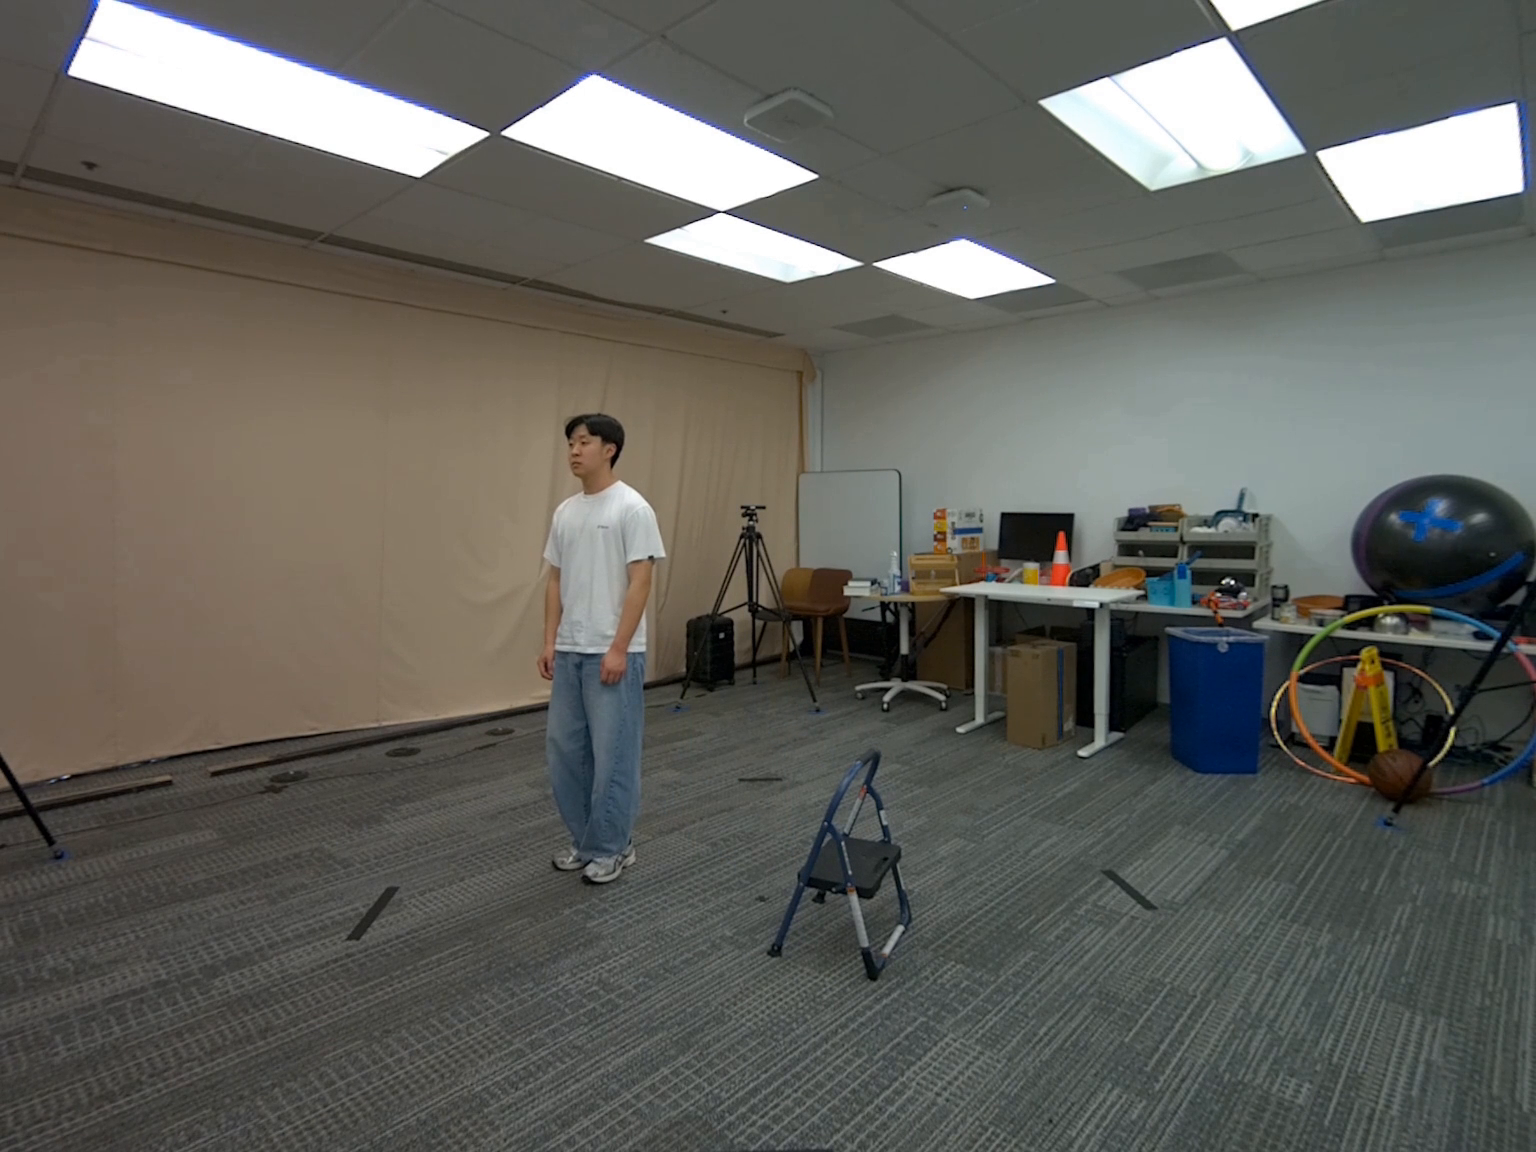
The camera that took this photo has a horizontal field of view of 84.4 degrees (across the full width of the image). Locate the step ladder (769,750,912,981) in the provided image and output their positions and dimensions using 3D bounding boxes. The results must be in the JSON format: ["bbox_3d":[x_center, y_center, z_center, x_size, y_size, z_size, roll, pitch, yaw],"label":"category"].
[{"bbox_3d":[0.243,0.863,2.700,0.358,0.605,0.420,1,4,26],"label":"step ladder"}]
